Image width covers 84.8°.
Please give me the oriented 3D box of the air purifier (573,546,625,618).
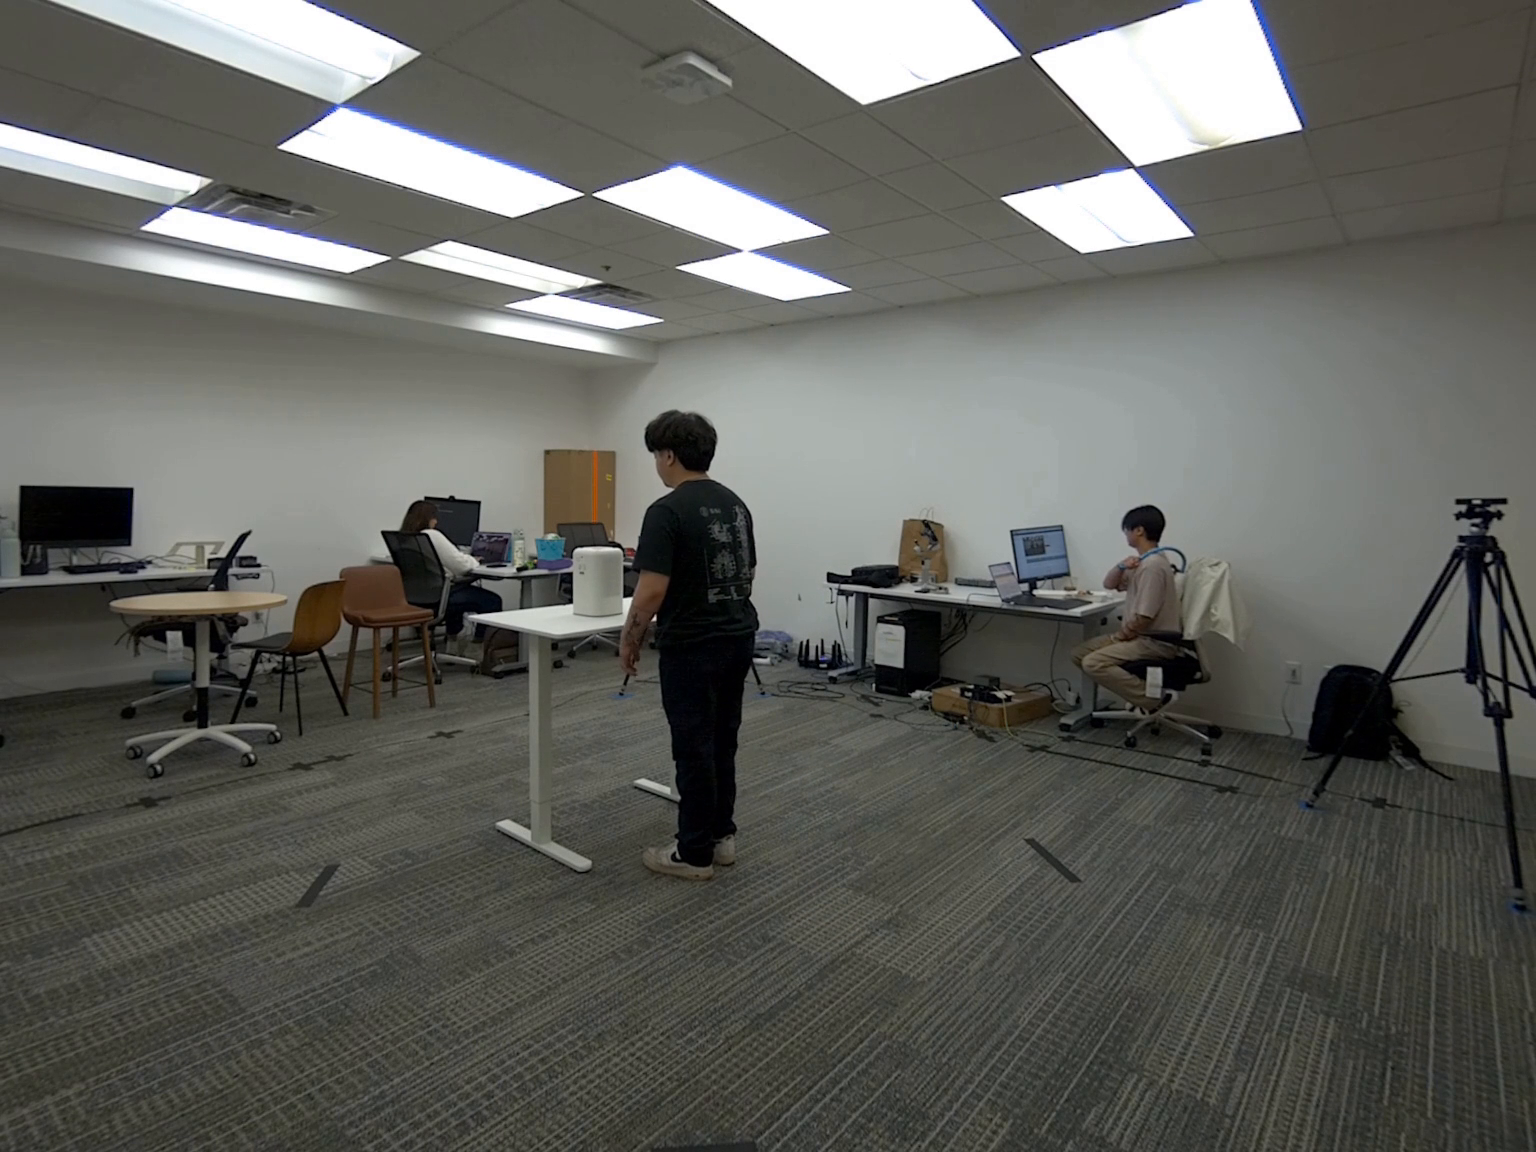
[{"bbox_3d":[-0.695,0.016,3.420,0.176,0.265,0.166,3,3,36],"label":"air purifier"}]
